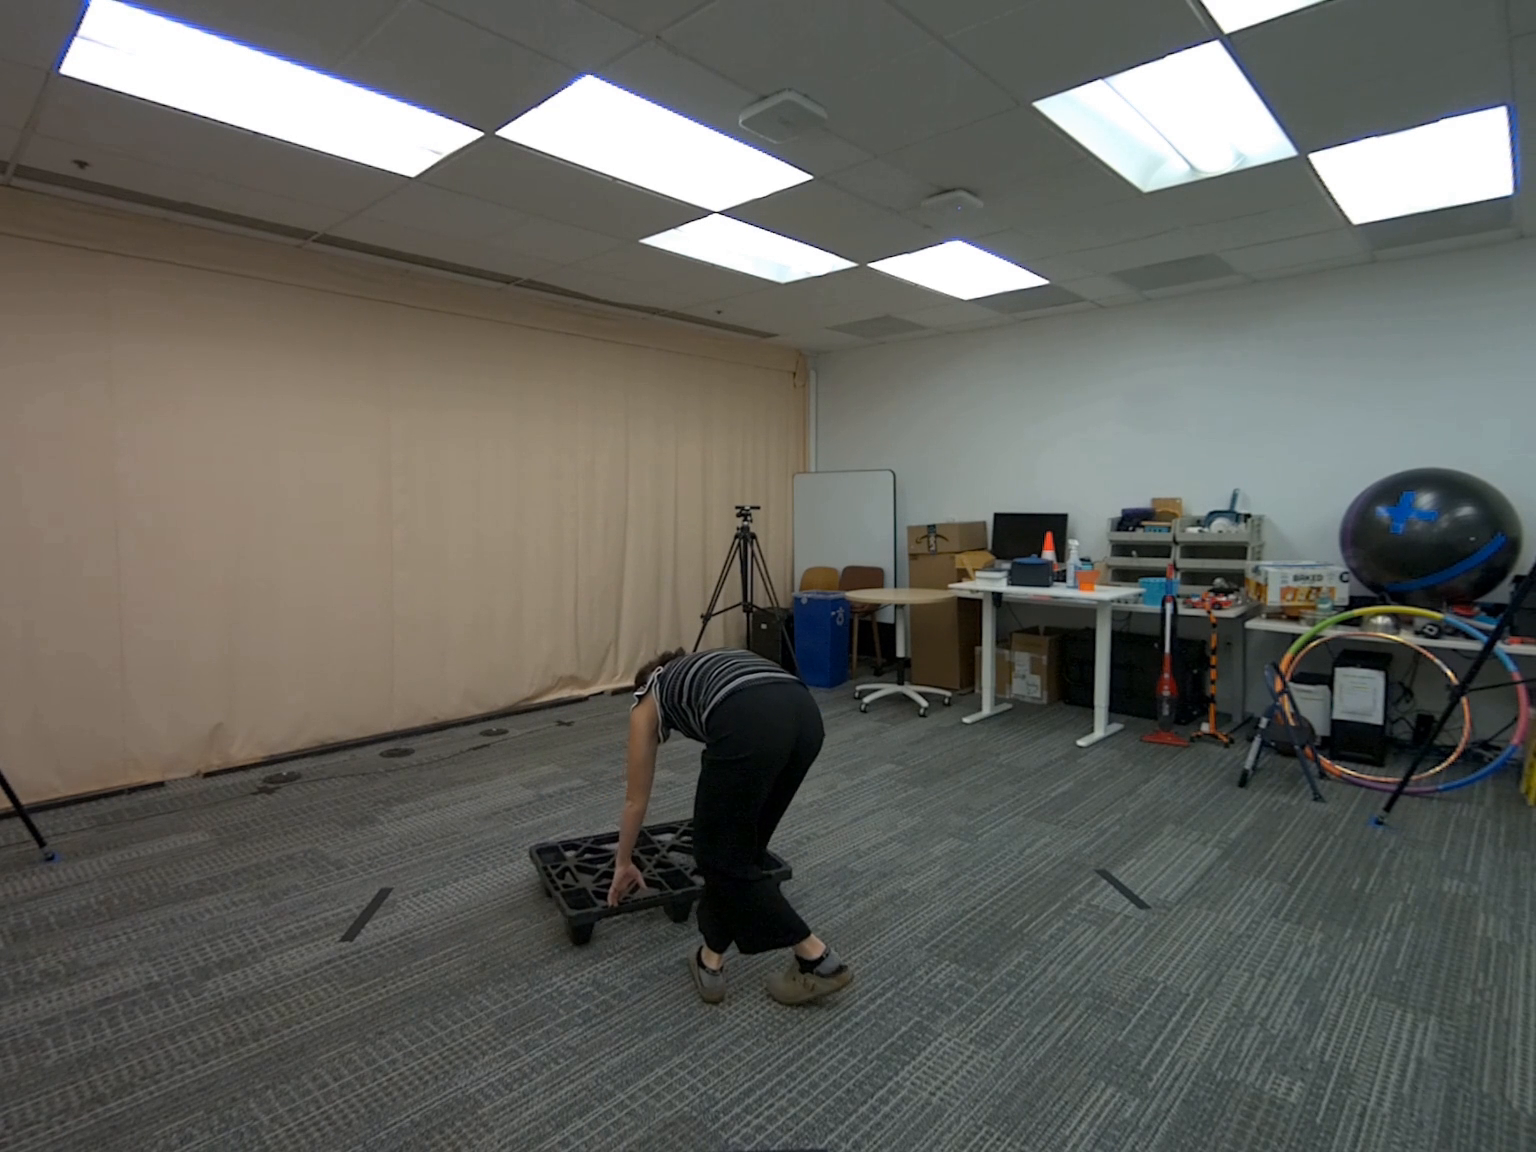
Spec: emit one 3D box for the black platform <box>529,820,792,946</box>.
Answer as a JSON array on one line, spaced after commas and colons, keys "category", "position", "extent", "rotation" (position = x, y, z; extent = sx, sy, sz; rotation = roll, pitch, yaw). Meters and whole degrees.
[{"category": "black platform", "position": [-0.400, 1.074, 3.026], "extent": [0.786, 0.143, 0.621], "rotation": [-2, 5, -26]}]
